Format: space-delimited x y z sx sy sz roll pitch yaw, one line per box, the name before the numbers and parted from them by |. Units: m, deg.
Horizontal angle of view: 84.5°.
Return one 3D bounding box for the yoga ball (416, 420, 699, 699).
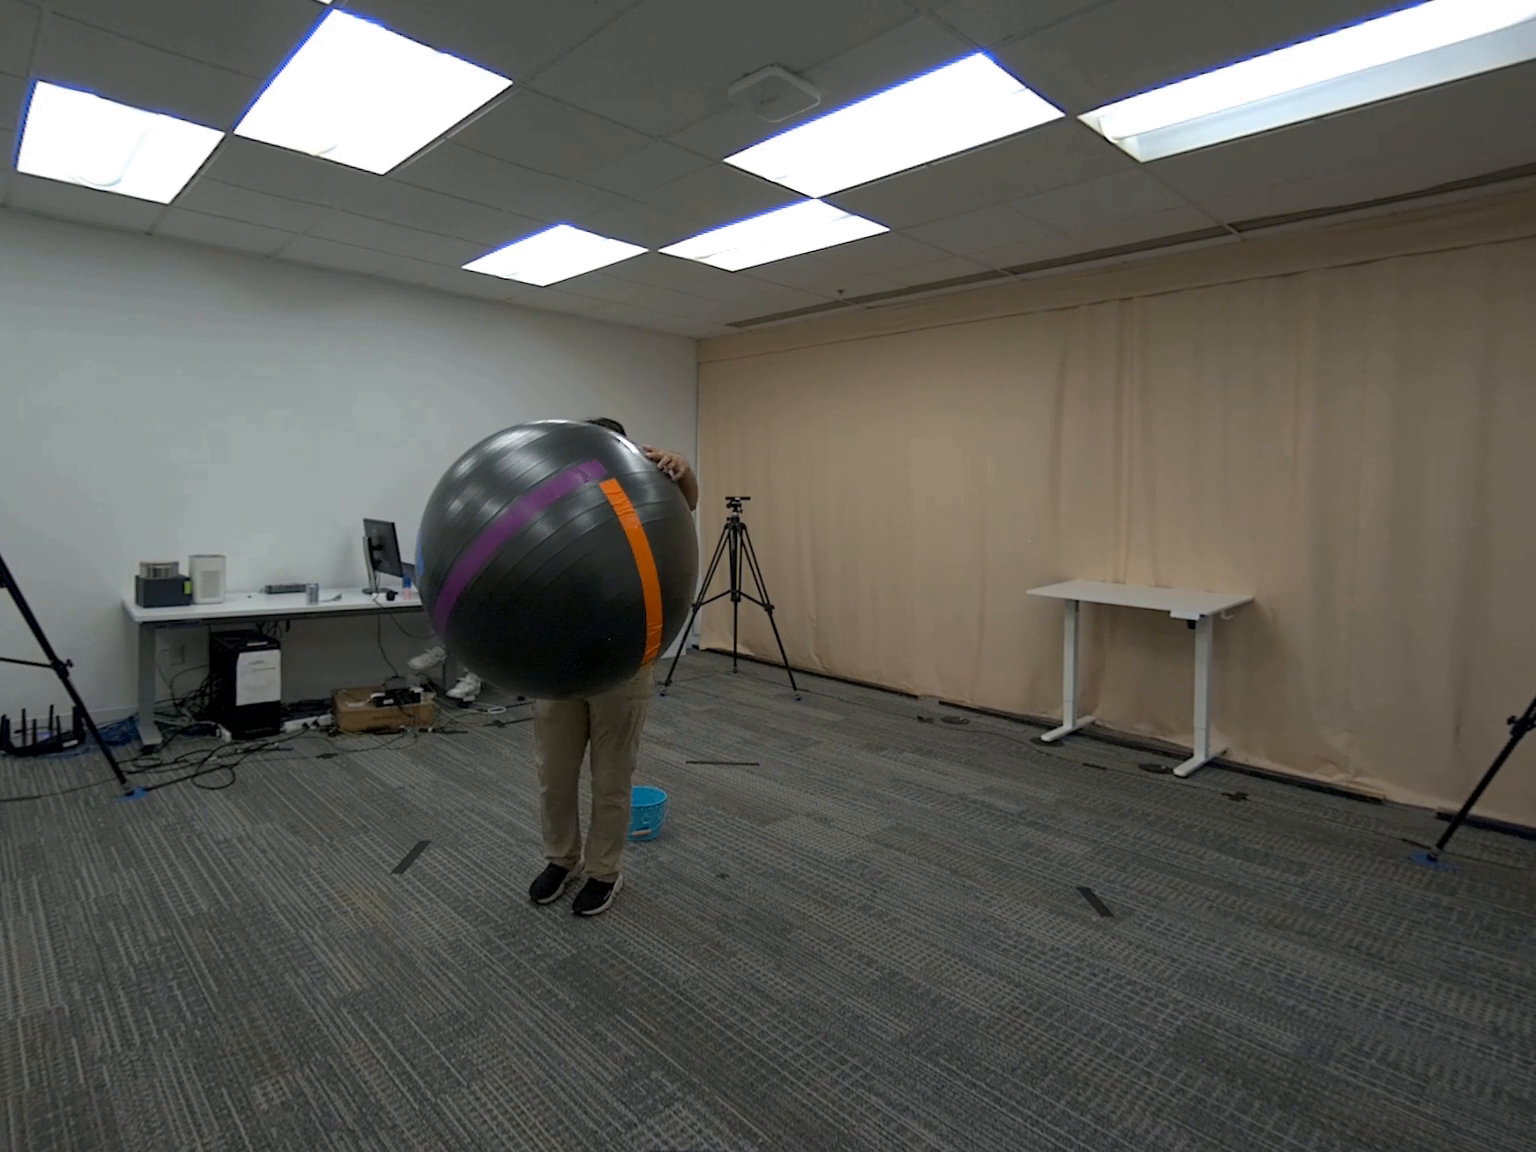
yoga ball | -0.577 -0.039 2.292 0.757 0.756 0.761 1 4 -1
